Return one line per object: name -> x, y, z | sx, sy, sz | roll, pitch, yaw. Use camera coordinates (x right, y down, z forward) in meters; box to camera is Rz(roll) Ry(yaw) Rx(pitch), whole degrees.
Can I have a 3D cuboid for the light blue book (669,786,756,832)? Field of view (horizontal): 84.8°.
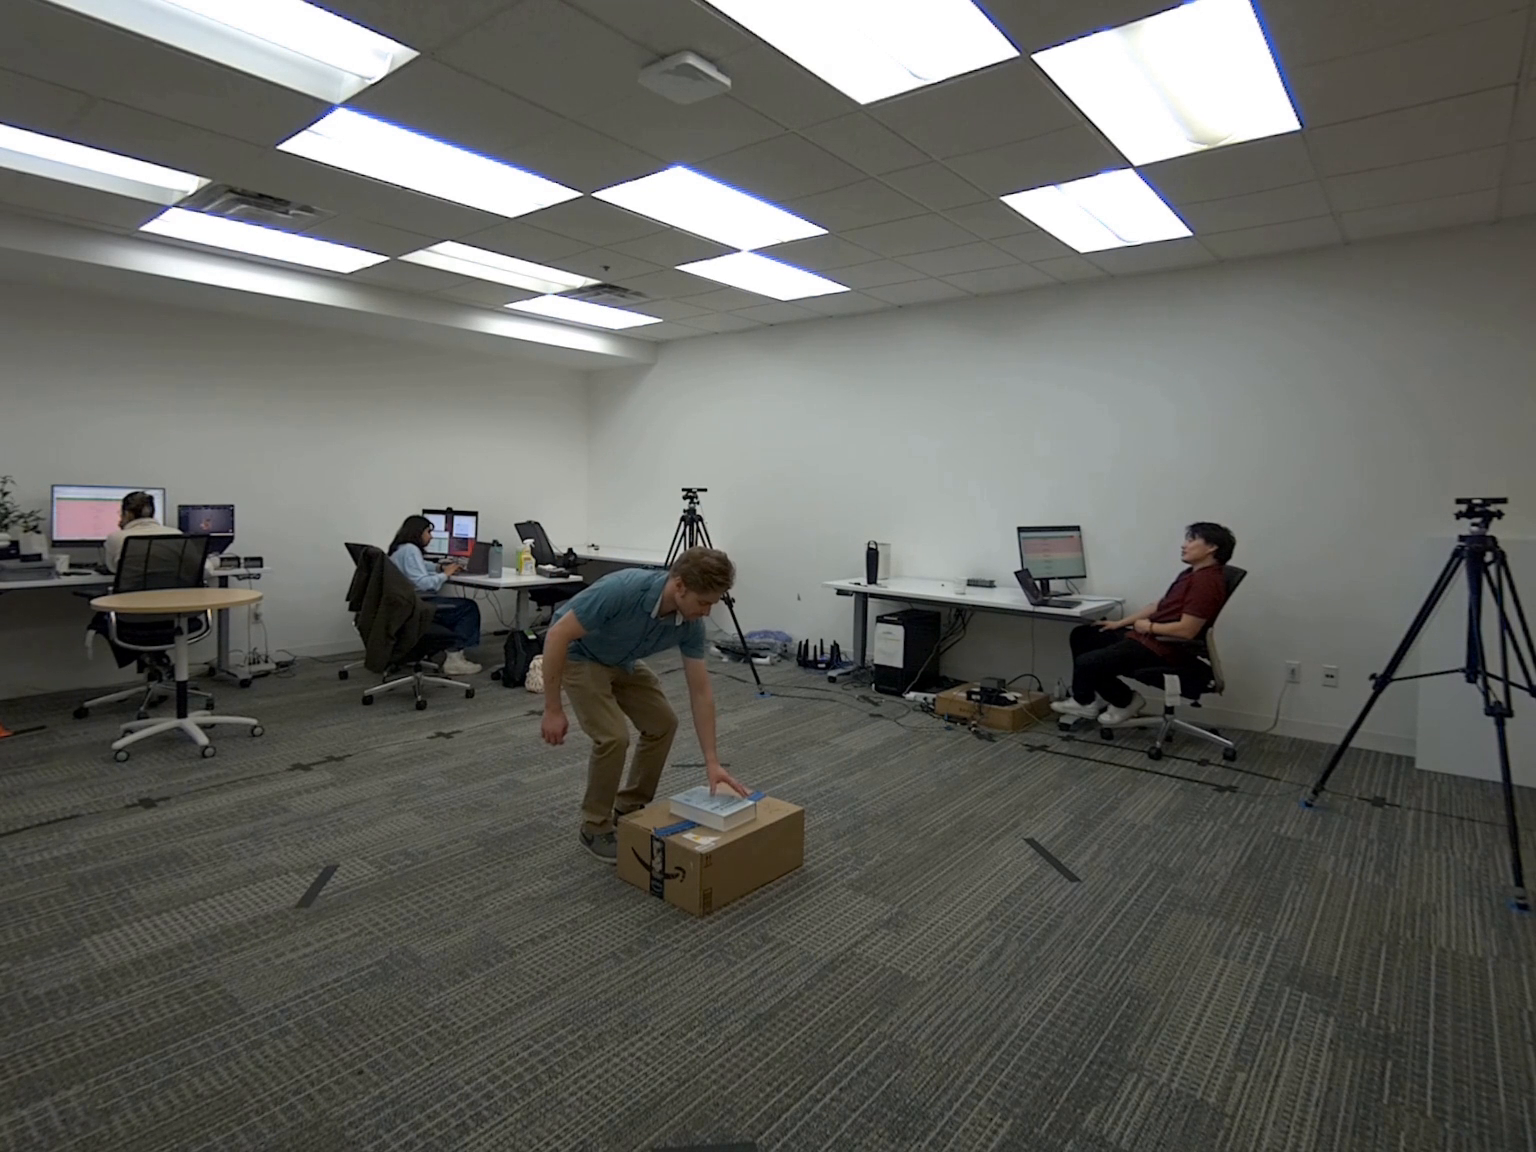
light blue book -> -0.212, 0.830, 3.074 | 0.270, 0.059, 0.185 | 5, 5, 38
